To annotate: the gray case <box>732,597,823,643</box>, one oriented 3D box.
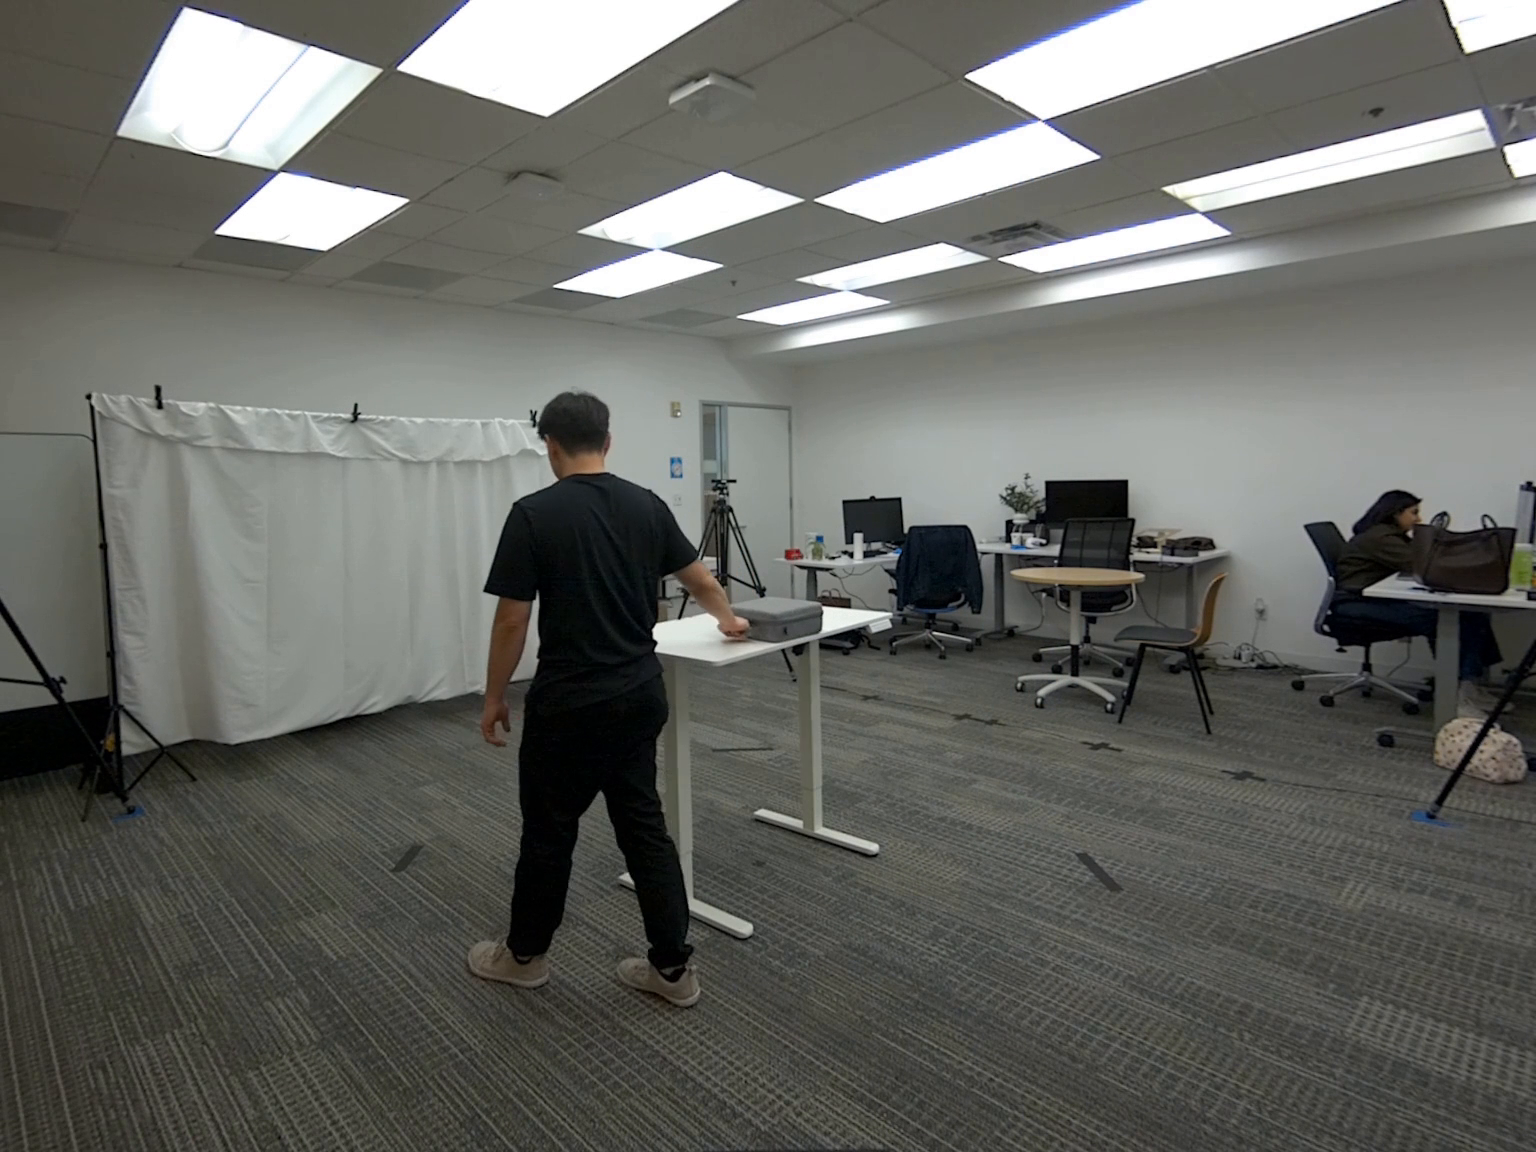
[{"bbox_3d":[0.016,0.142,2.838,0.265,0.103,0.254,6,11,44],"label":"gray case"}]
